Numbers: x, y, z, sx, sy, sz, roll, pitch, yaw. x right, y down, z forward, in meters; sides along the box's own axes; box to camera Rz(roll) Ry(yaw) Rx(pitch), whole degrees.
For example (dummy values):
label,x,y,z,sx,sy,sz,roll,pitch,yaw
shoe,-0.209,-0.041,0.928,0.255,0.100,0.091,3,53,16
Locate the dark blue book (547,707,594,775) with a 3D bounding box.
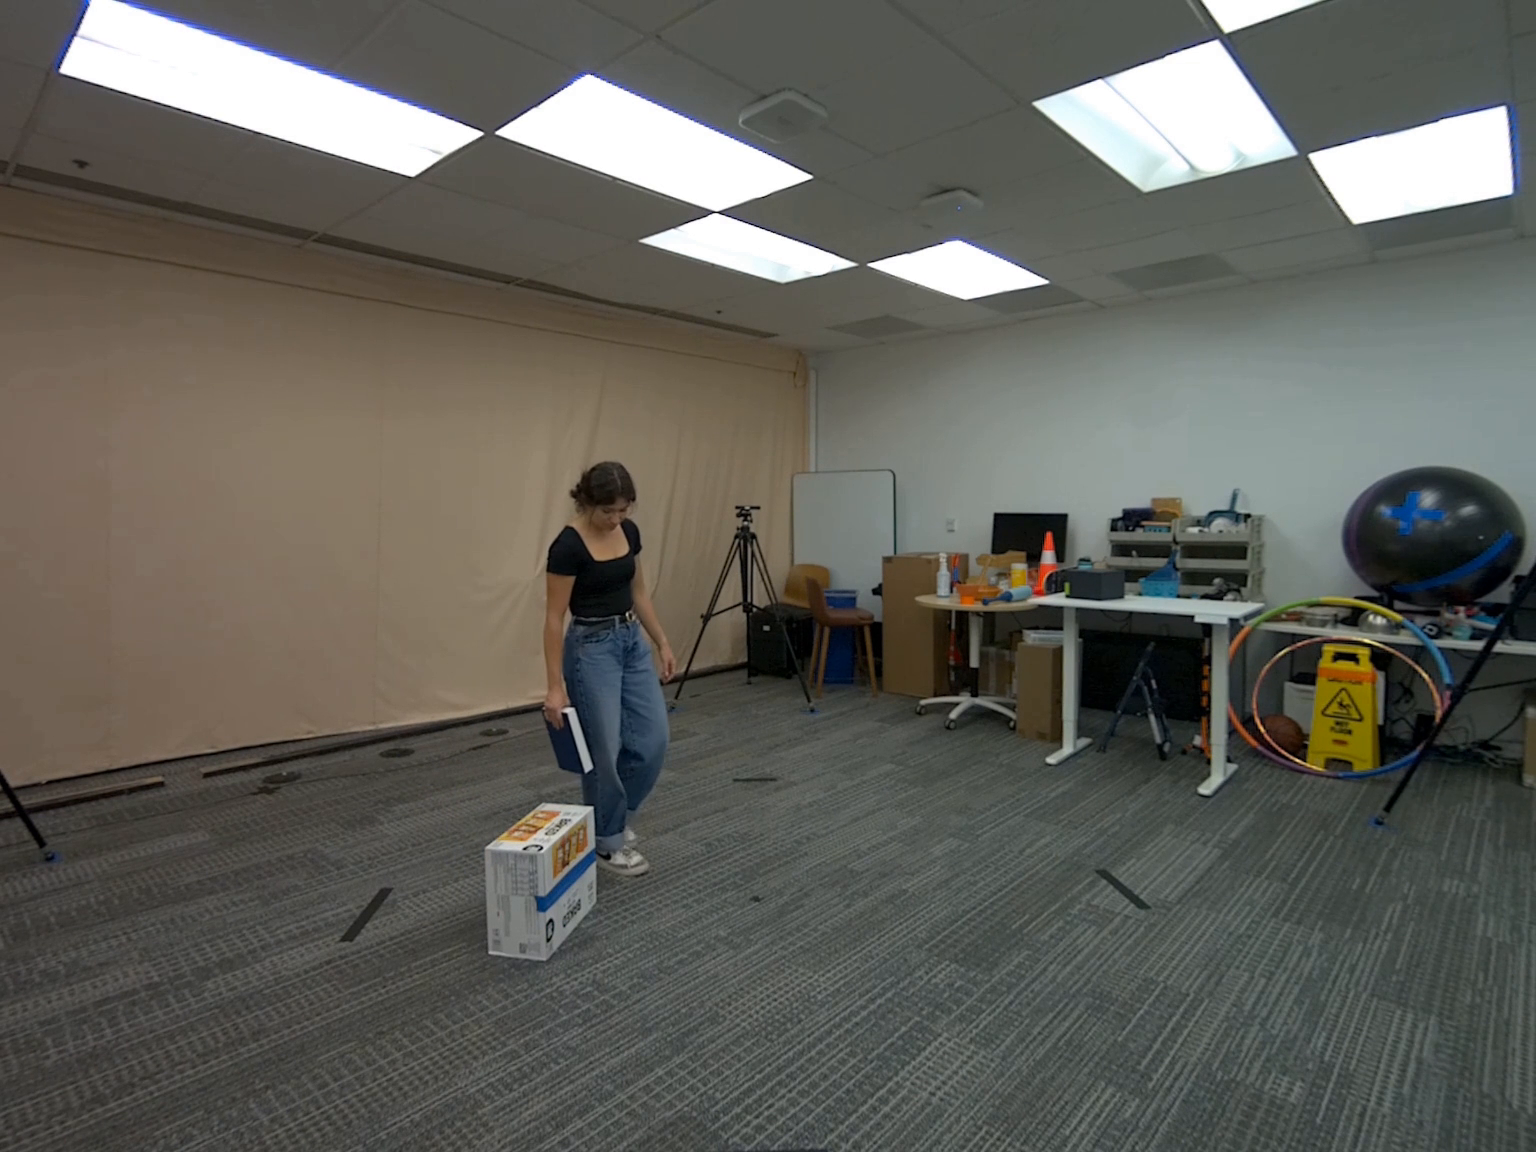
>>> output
label,x,y,z,sx,sy,sz,roll,pitch,yaw
dark blue book,-0.724,0.586,3.035,0.168,0.243,0.044,-5,13,43
